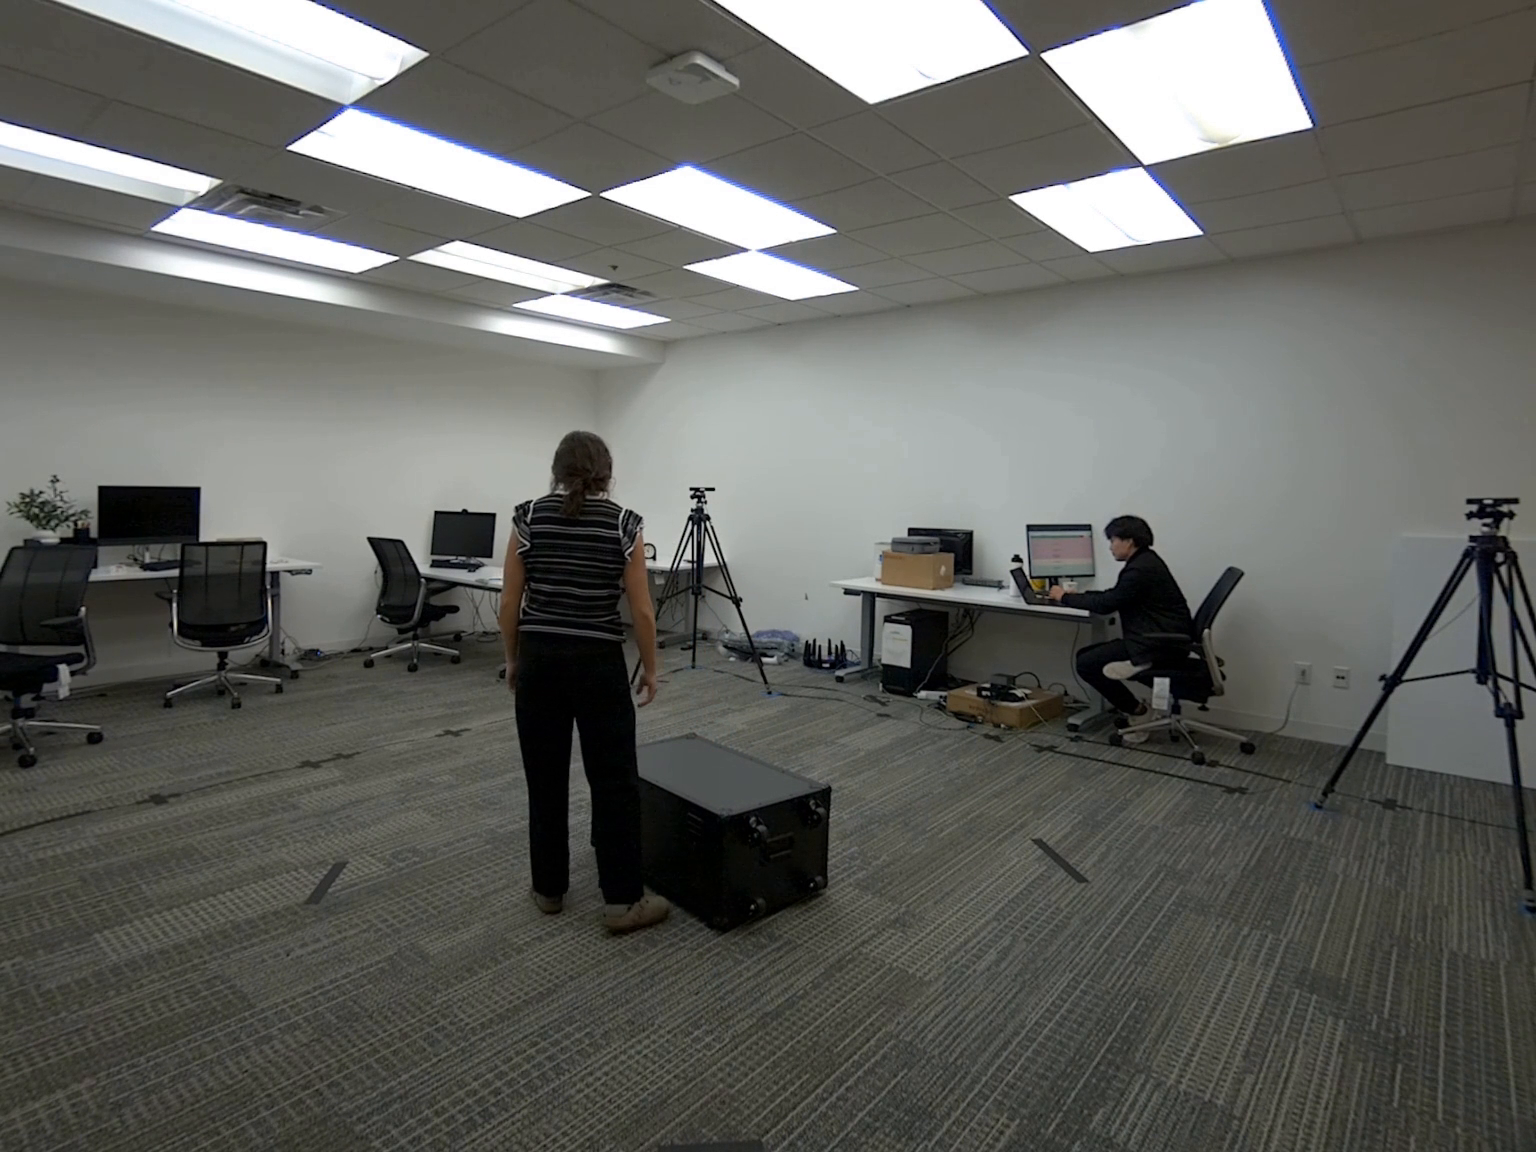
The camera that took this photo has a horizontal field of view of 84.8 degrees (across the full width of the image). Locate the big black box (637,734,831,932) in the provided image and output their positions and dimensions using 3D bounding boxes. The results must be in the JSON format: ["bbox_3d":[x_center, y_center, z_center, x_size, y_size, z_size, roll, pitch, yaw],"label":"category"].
[{"bbox_3d":[-0.216,0.881,3.047,0.505,0.395,0.891,-3,6,-41],"label":"big black box"}]
